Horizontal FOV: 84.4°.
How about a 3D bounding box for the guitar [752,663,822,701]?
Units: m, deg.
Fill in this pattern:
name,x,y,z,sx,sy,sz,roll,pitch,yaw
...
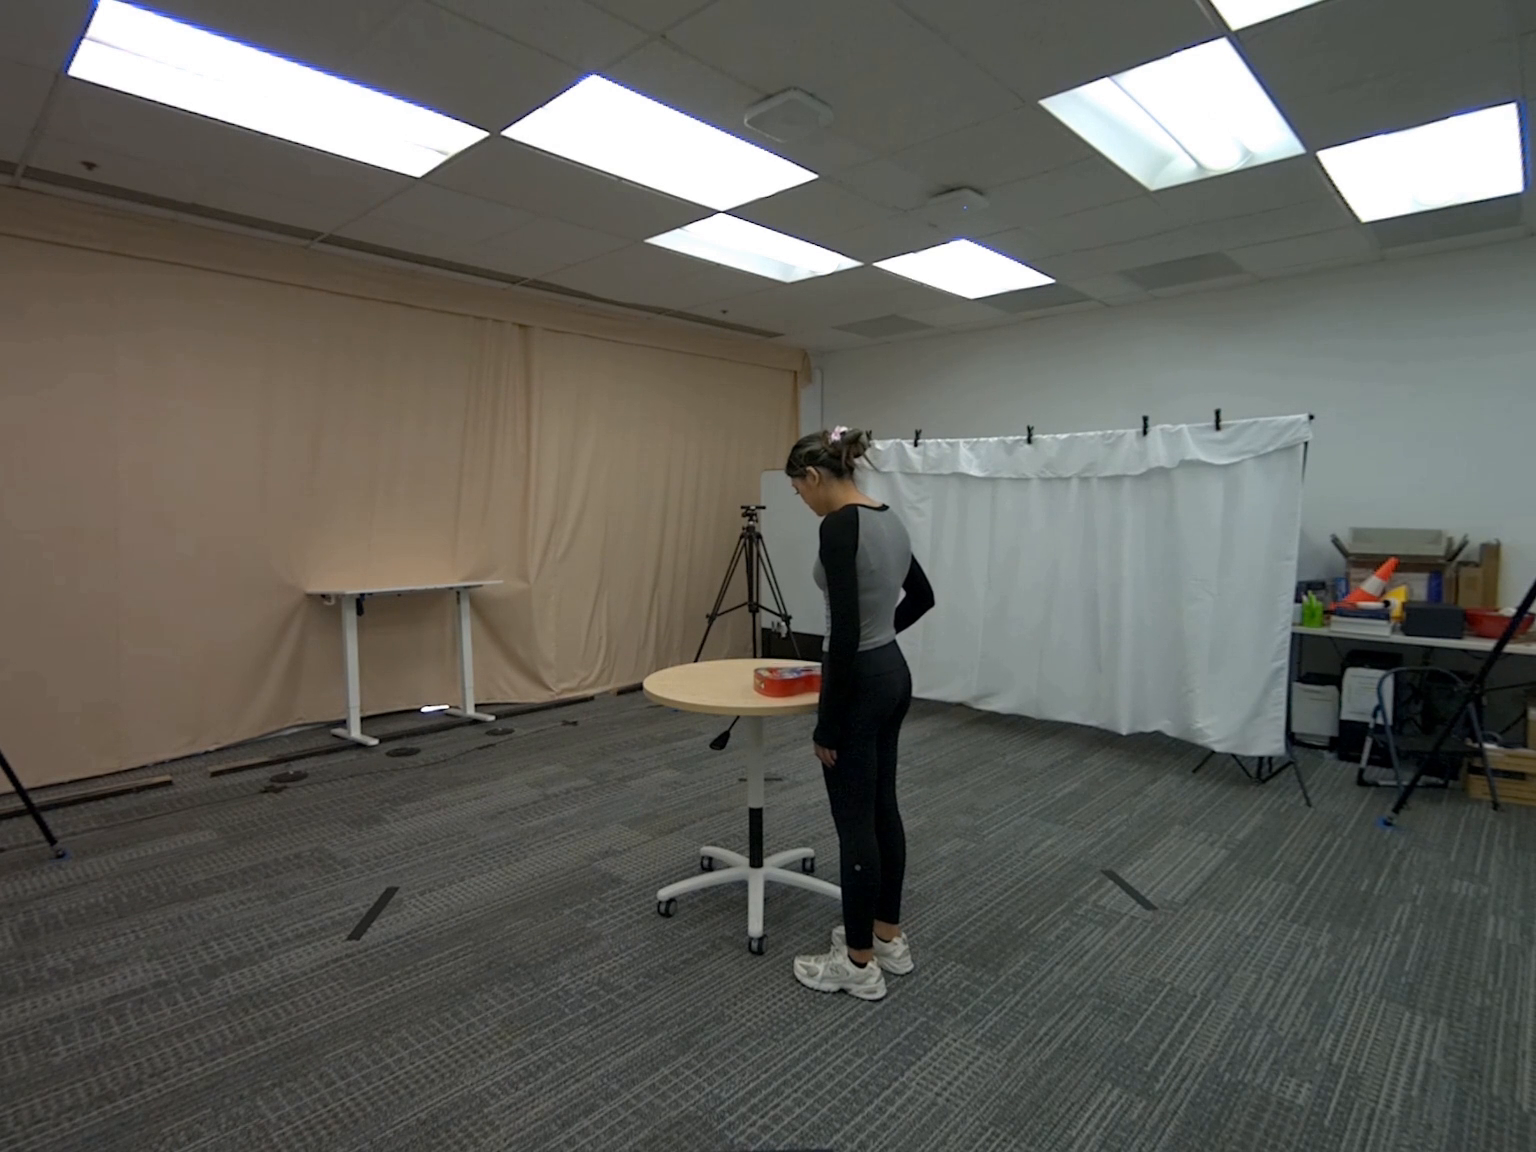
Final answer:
name,x,y,z,sx,sy,sz,roll,pitch,yaw
guitar,0.207,0.336,2.744,0.494,0.070,0.195,-2,6,-7
